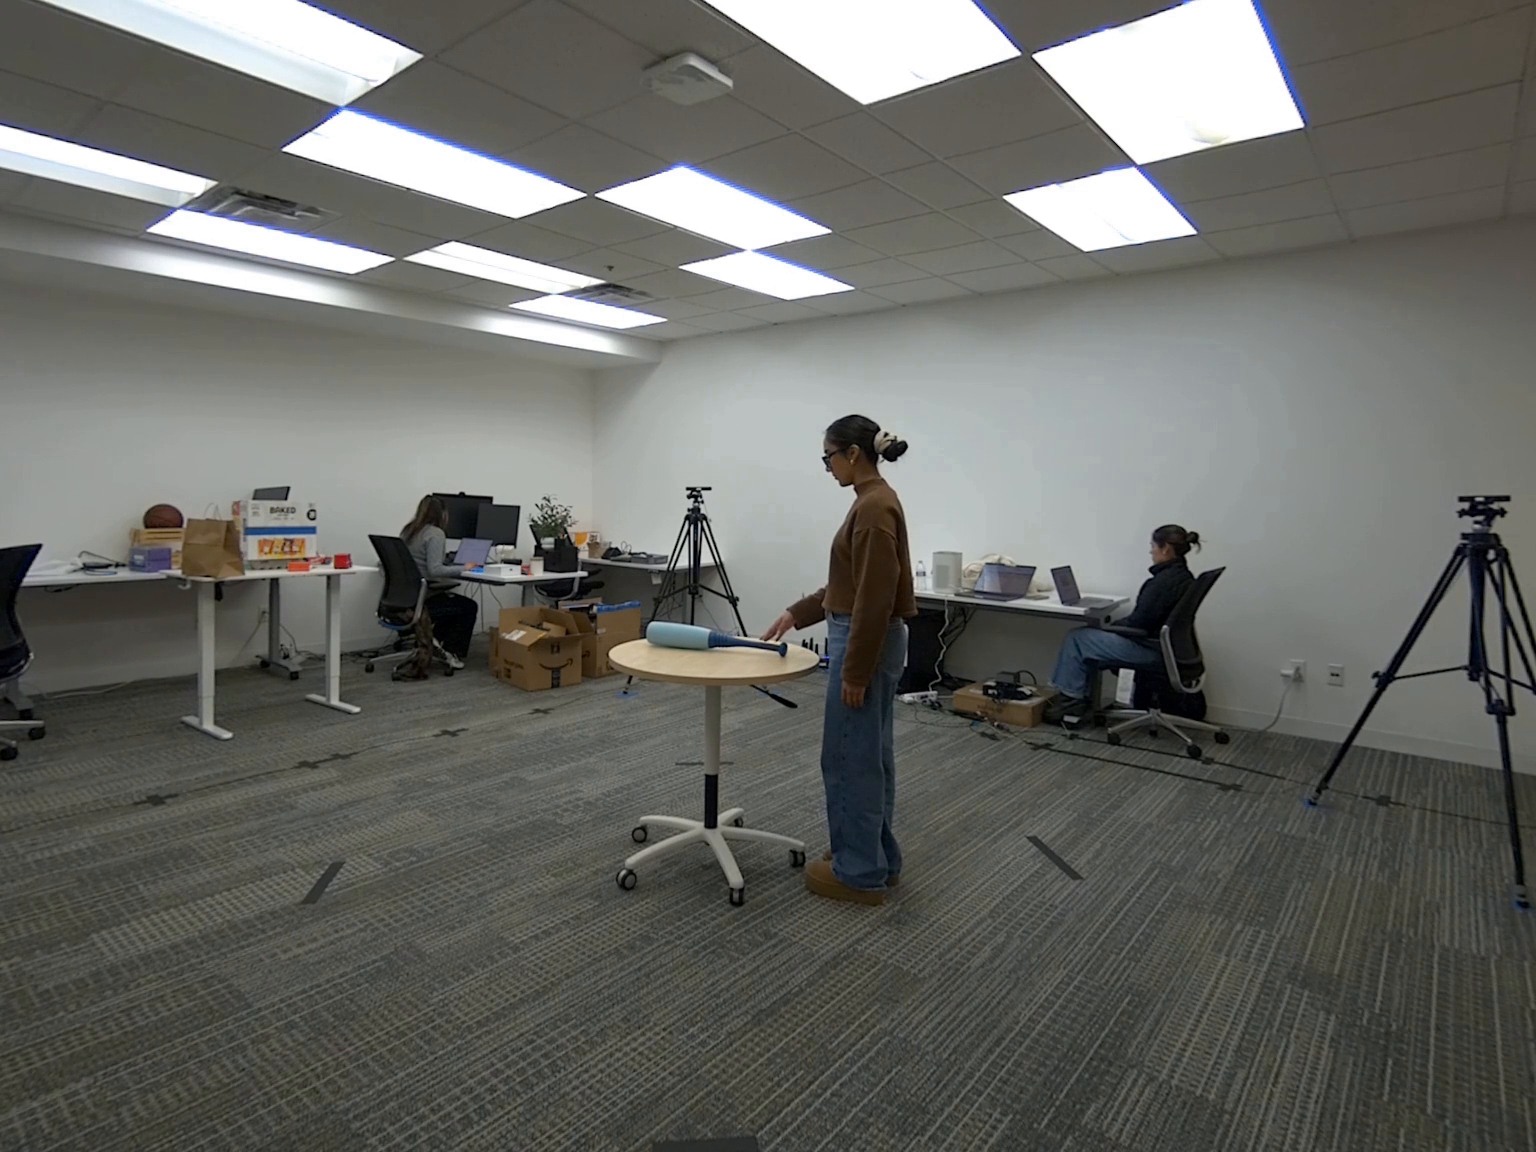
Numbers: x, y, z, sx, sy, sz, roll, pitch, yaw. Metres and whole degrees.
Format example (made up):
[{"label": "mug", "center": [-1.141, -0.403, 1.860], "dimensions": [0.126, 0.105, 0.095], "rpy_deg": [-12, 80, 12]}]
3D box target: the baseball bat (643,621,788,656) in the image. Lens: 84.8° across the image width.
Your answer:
[{"label": "baseball bat", "center": [-0.203, 0.242, 3.169], "dimensions": [0.553, 0.089, 0.088], "rpy_deg": [6, 5, 17]}]
